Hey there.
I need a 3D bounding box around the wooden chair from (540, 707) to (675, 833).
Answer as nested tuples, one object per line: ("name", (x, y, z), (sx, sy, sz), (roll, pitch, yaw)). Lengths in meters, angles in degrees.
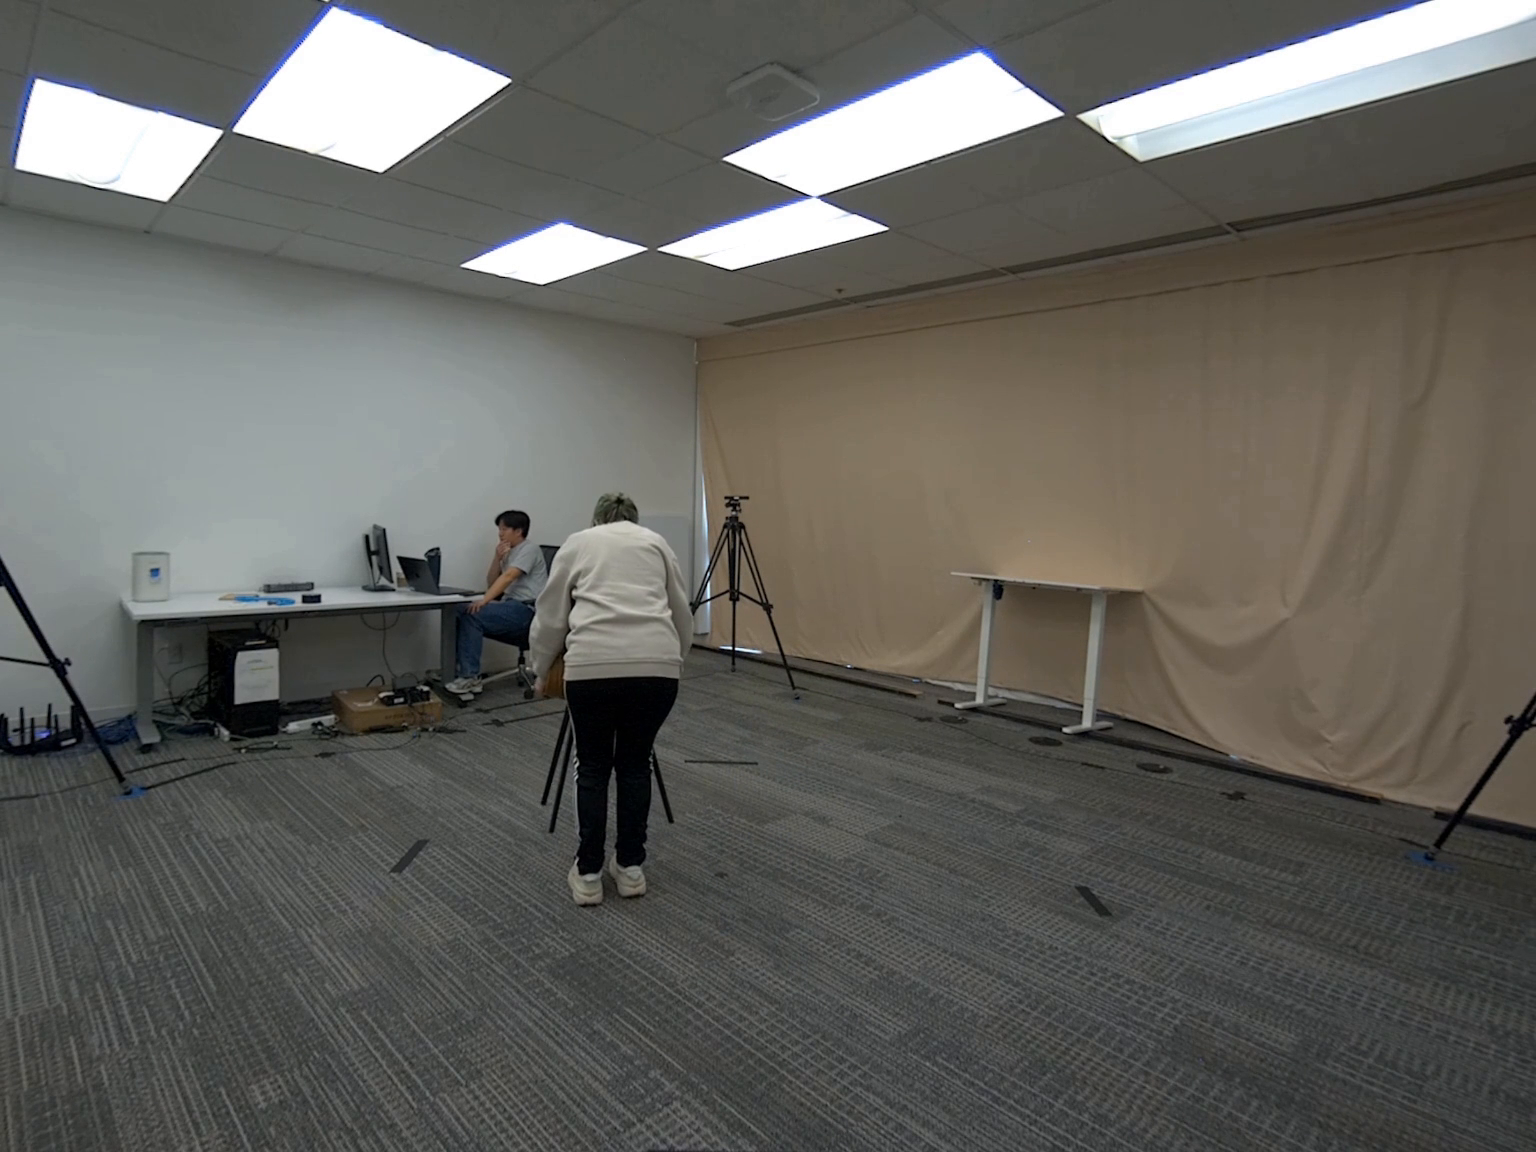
("wooden chair", (-0.650, 0.504, 3.275), (0.471, 0.877, 0.530), (0, 1, -18))
